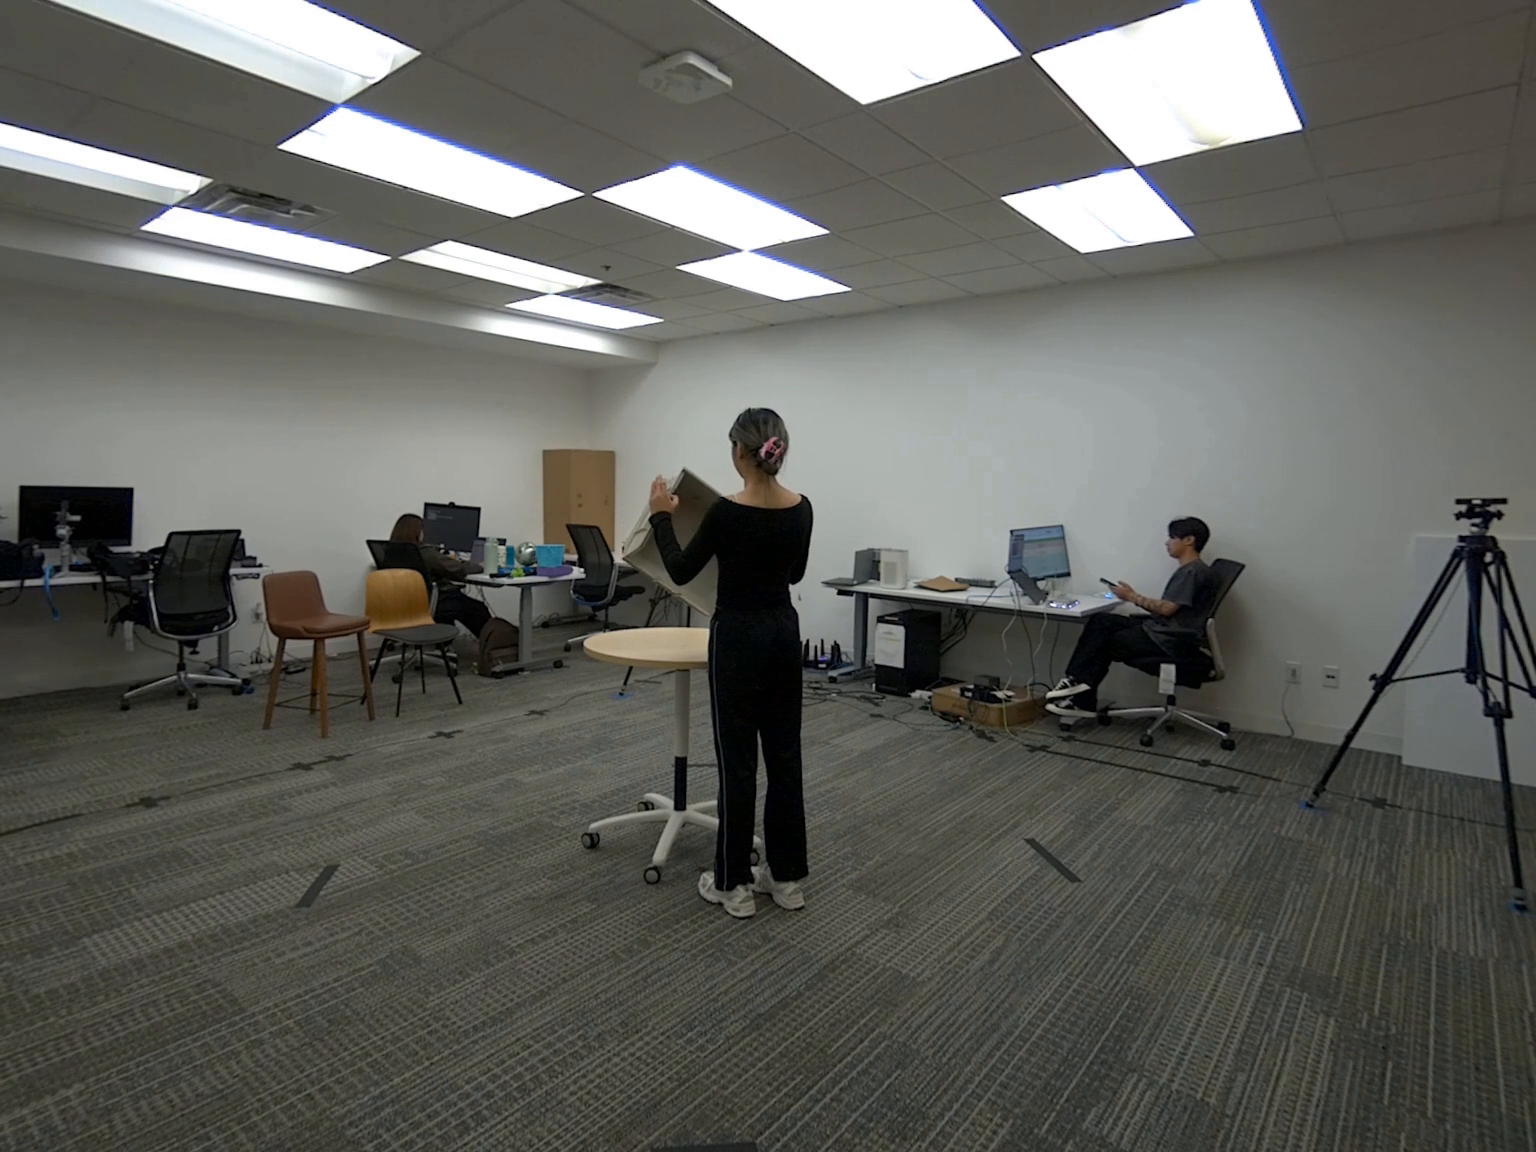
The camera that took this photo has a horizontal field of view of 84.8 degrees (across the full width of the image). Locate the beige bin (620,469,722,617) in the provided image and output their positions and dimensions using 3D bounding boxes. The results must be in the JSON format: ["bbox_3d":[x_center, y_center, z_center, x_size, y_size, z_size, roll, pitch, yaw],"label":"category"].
[{"bbox_3d":[-0.275,-0.115,3.122,0.411,0.379,0.193,35,-18,-20],"label":"beige bin"}]
